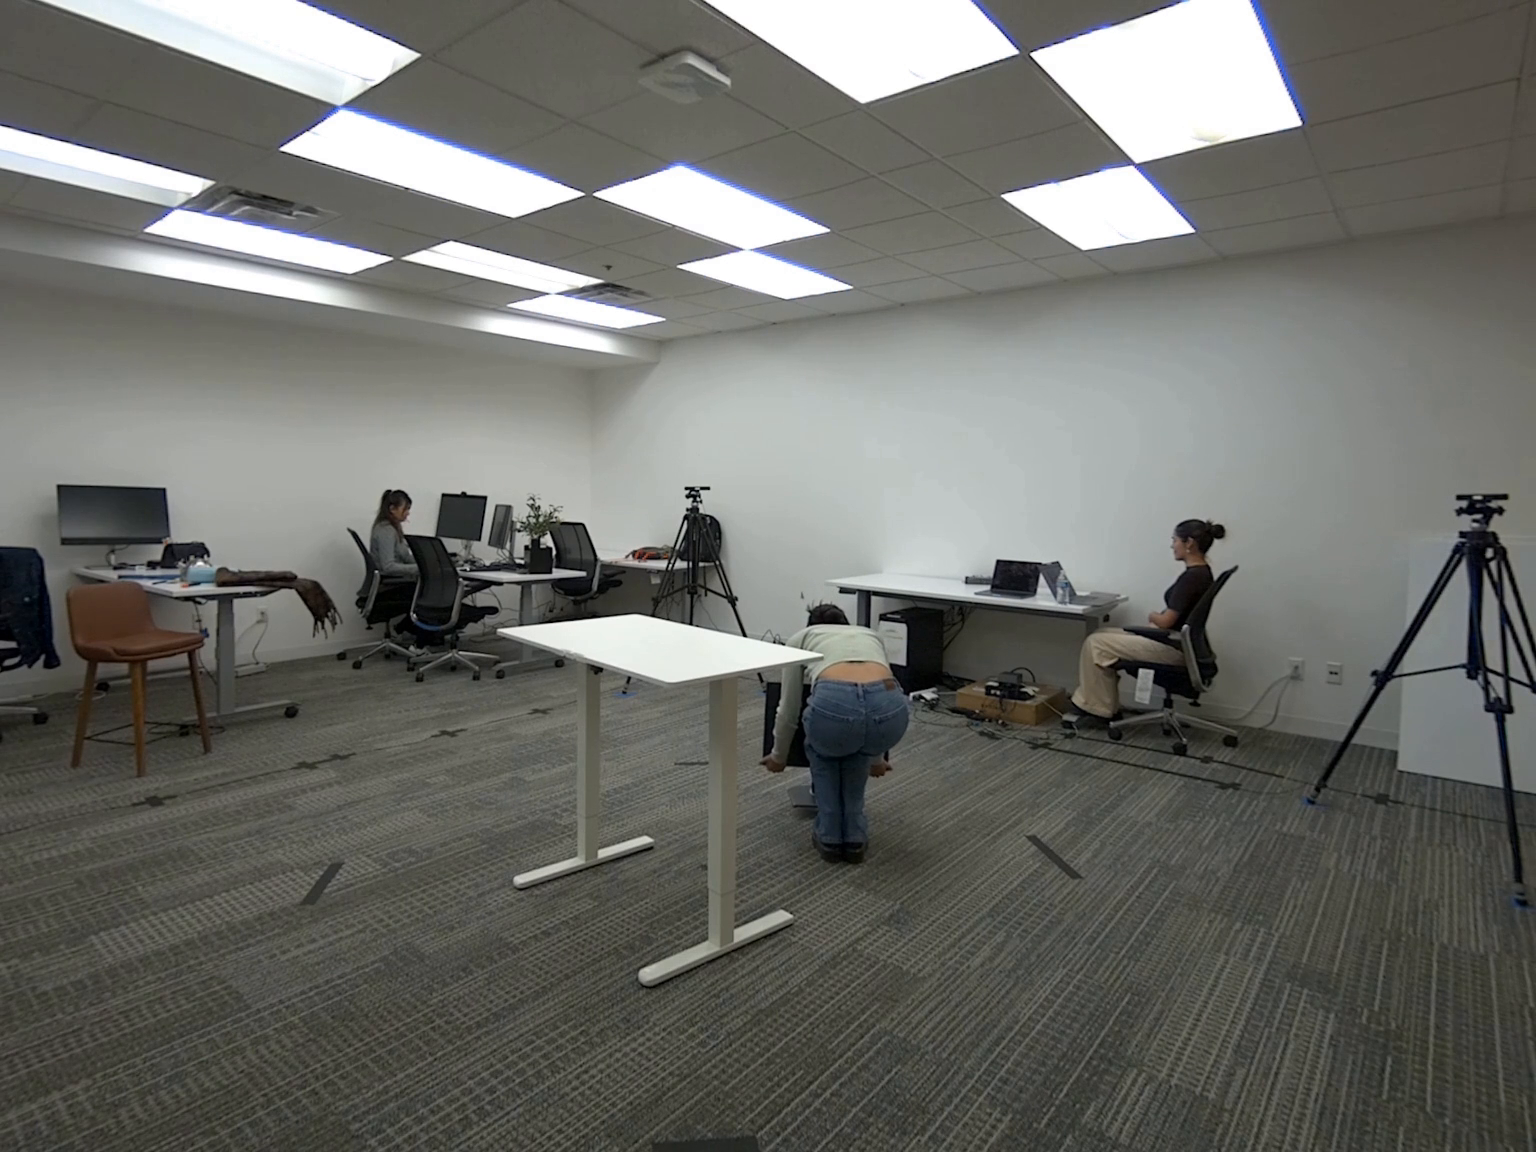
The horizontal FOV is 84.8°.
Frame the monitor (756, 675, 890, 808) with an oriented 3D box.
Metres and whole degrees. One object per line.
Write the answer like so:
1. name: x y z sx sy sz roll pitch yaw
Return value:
1. monitor: 0.236 0.712 3.642 0.536 0.517 0.190 1 11 -5
